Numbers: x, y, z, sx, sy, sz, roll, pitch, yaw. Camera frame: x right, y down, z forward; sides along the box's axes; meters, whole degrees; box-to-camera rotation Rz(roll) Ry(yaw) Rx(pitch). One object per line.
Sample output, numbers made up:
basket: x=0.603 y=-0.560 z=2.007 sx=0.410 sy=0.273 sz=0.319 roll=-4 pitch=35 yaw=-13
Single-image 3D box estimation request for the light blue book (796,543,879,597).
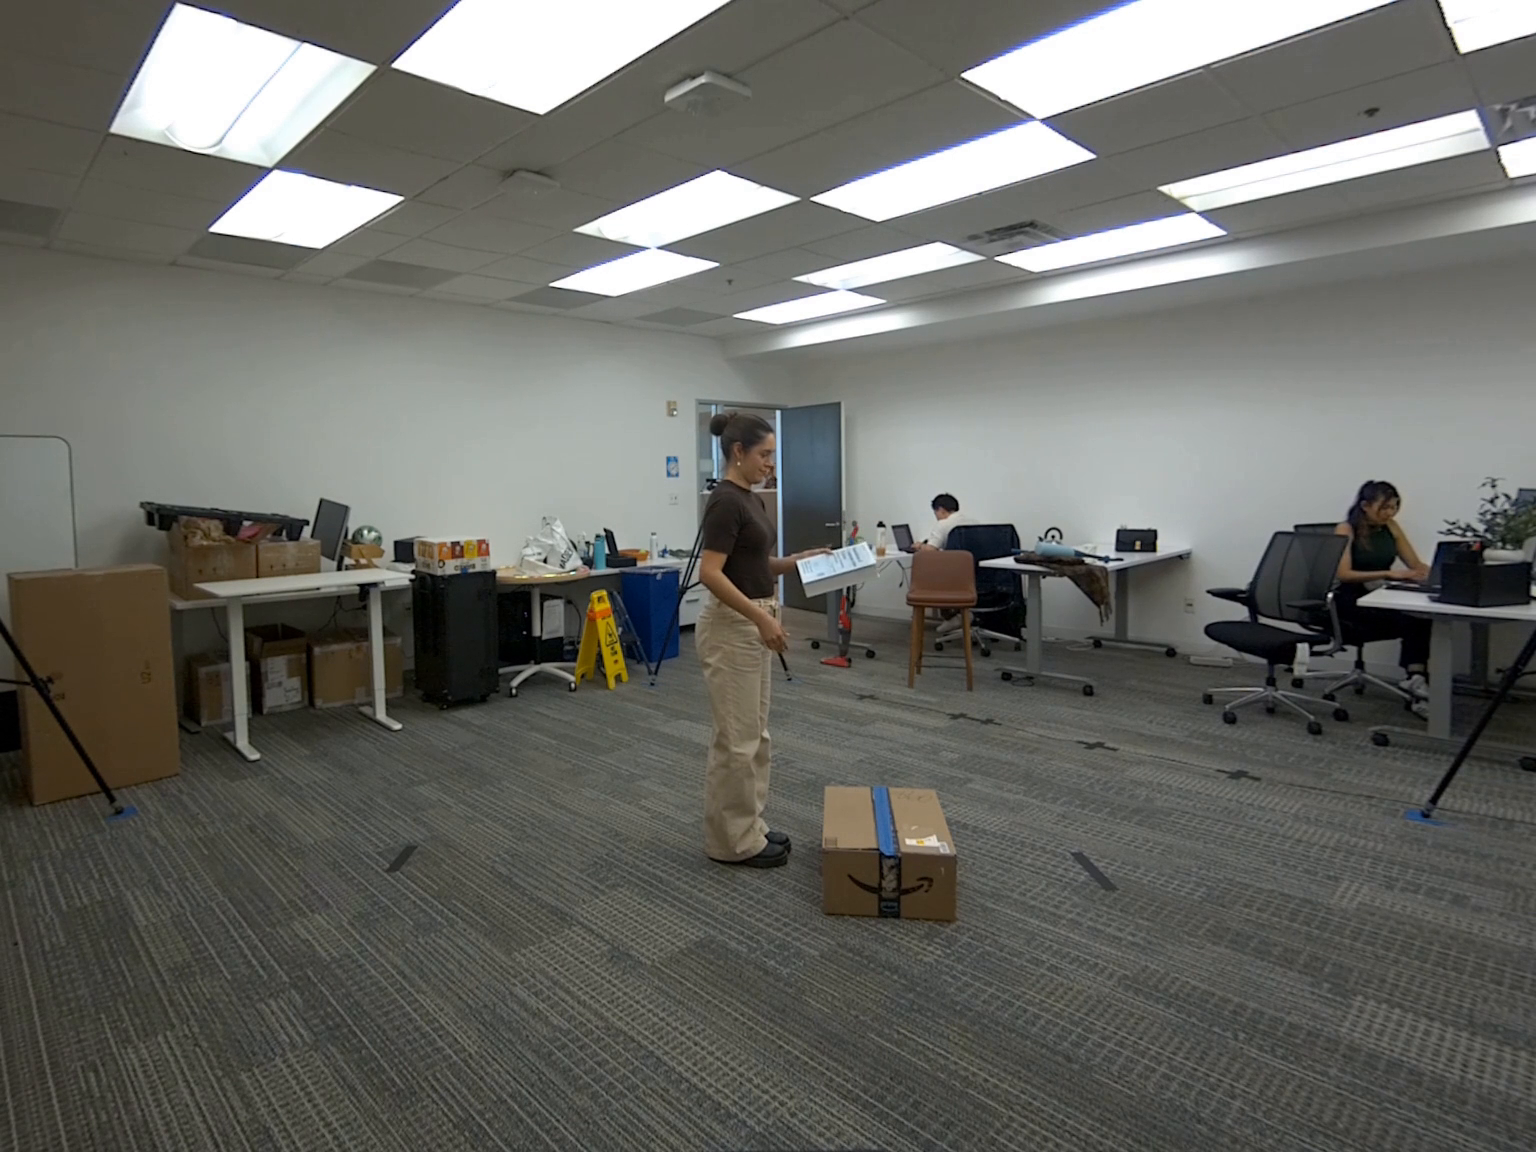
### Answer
light blue book: x=0.245 y=-0.026 z=3.019 sx=0.262 sy=0.057 sz=0.196 roll=-16 pitch=27 yaw=3
